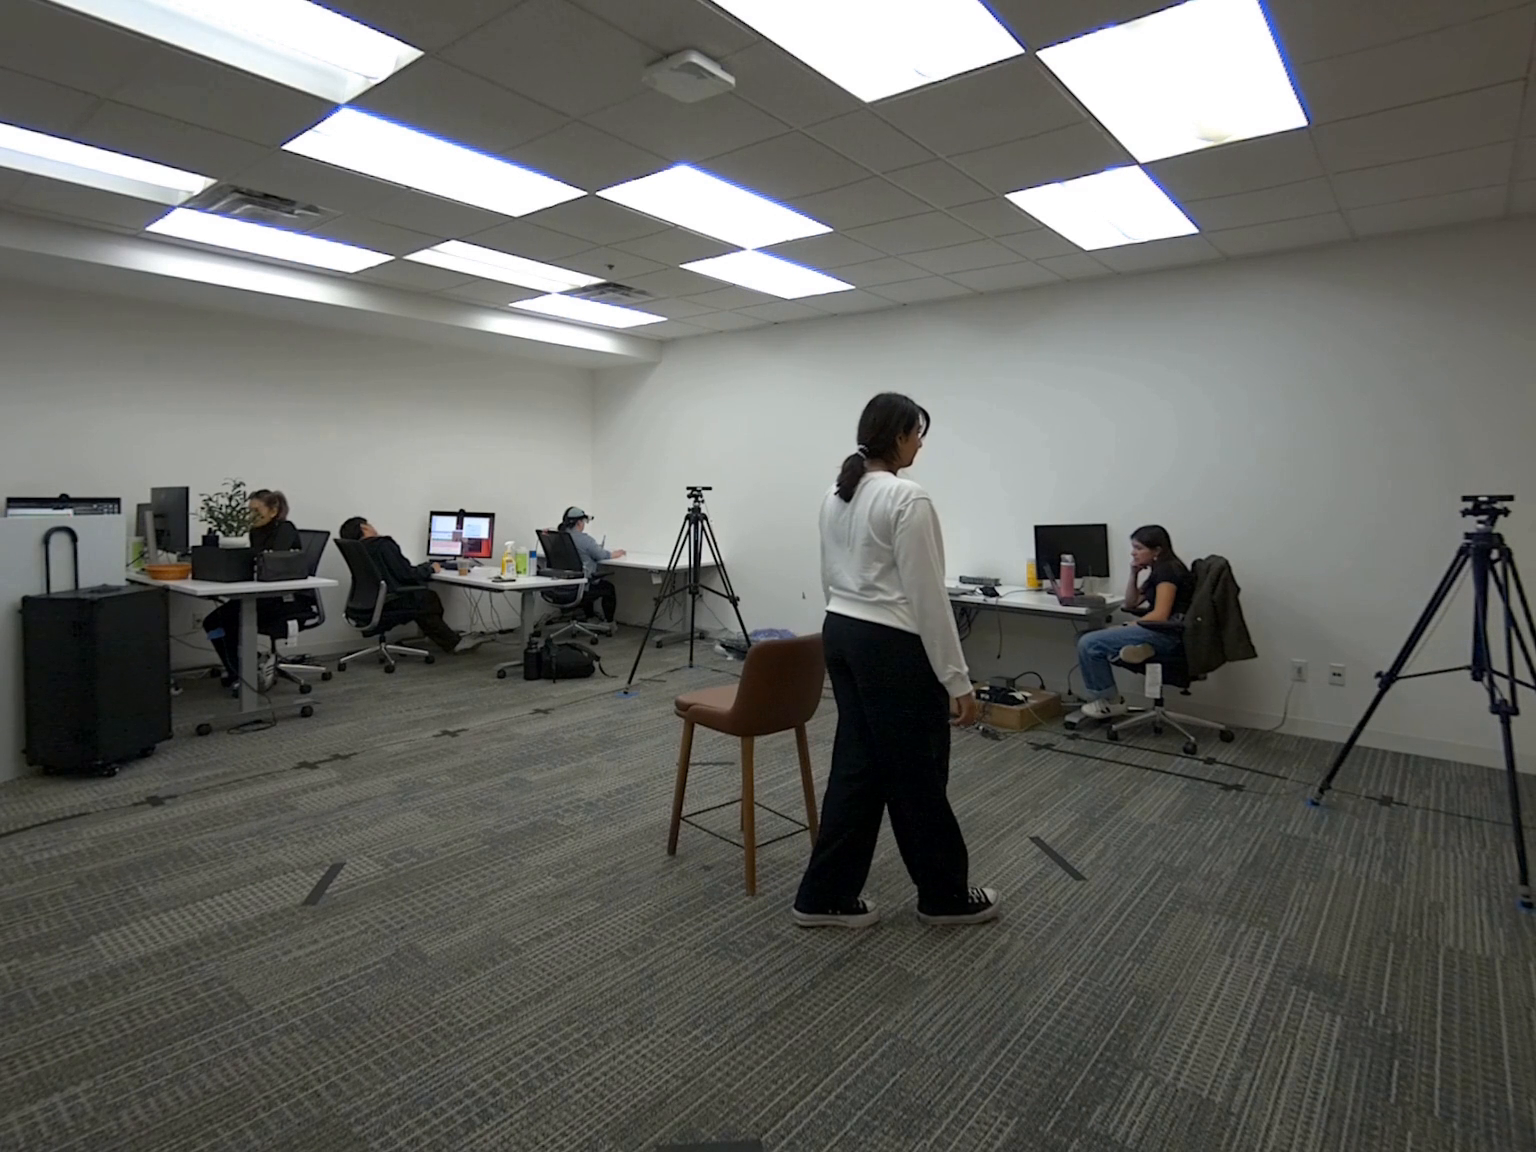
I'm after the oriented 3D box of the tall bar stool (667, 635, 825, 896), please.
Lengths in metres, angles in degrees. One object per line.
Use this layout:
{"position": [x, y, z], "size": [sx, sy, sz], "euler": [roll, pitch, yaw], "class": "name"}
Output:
{"position": [-0.068, 0.625, 3.160], "size": [0.442, 0.886, 0.484], "euler": [-1, 6, -43], "class": "tall bar stool"}
